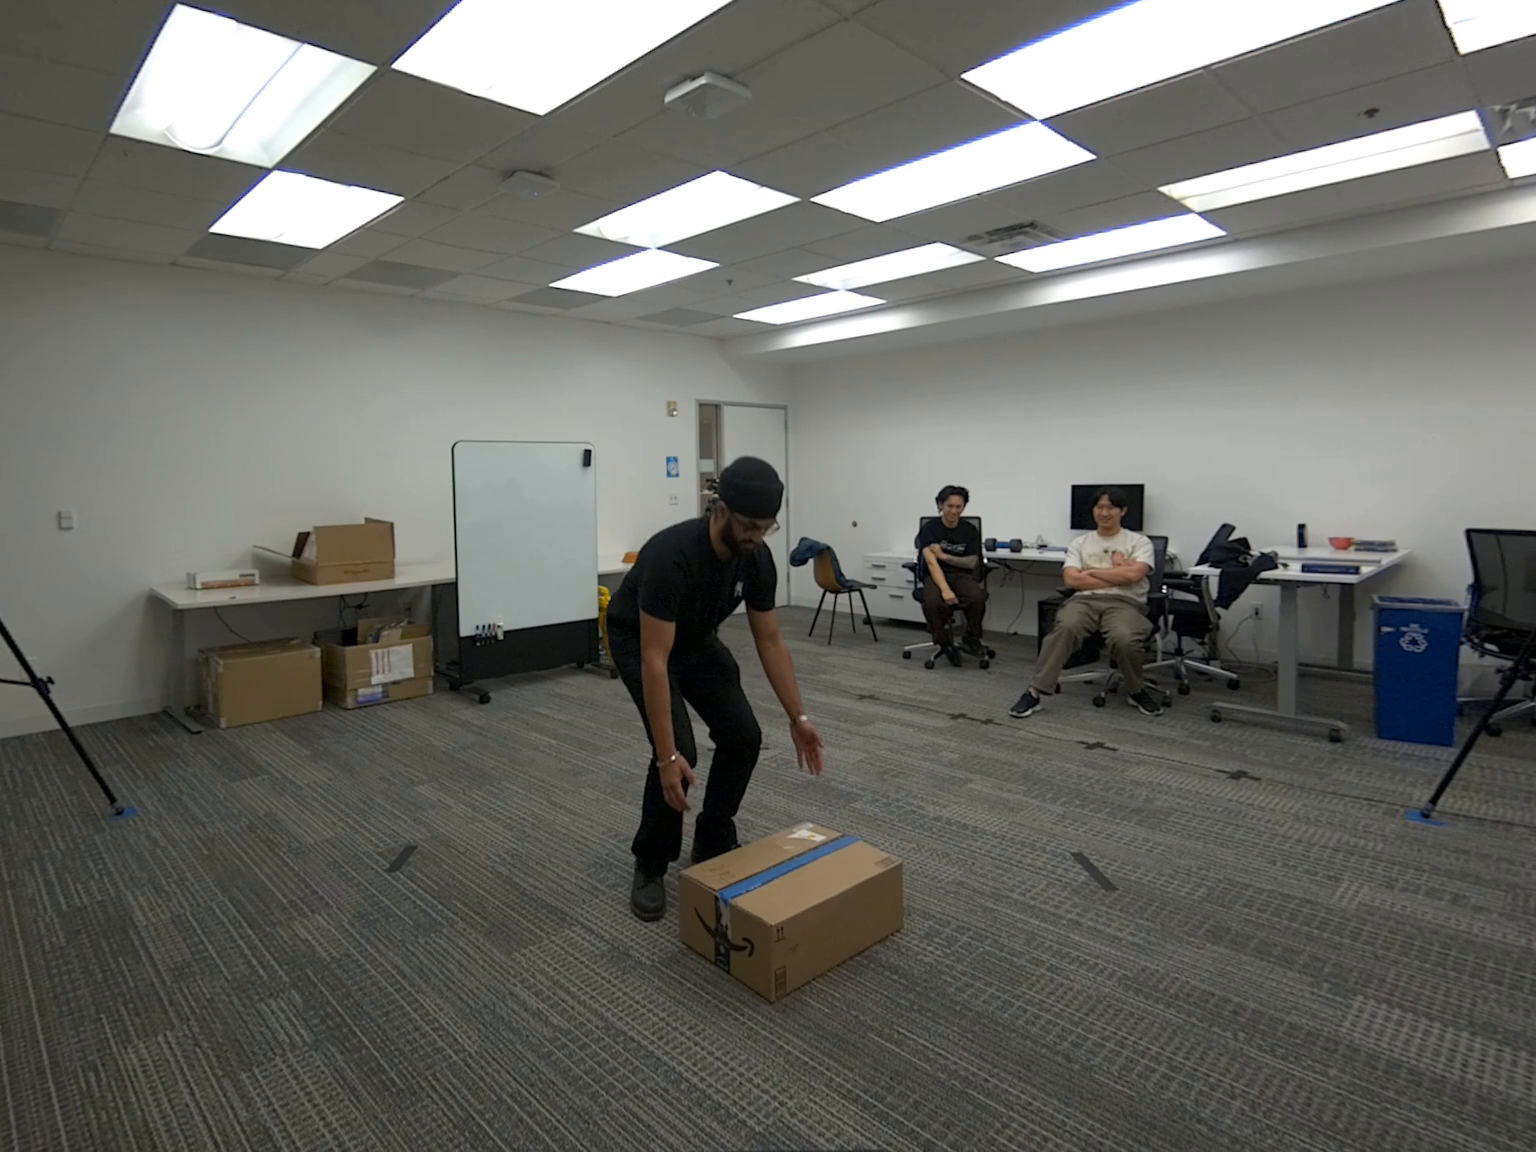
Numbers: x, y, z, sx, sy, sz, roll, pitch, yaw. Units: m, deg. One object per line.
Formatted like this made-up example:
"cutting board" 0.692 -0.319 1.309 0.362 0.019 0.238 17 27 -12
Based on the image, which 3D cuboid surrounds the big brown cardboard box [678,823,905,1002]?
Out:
"big brown cardboard box" 0.075 0.991 2.609 0.574 0.232 0.430 -9 10 -42
